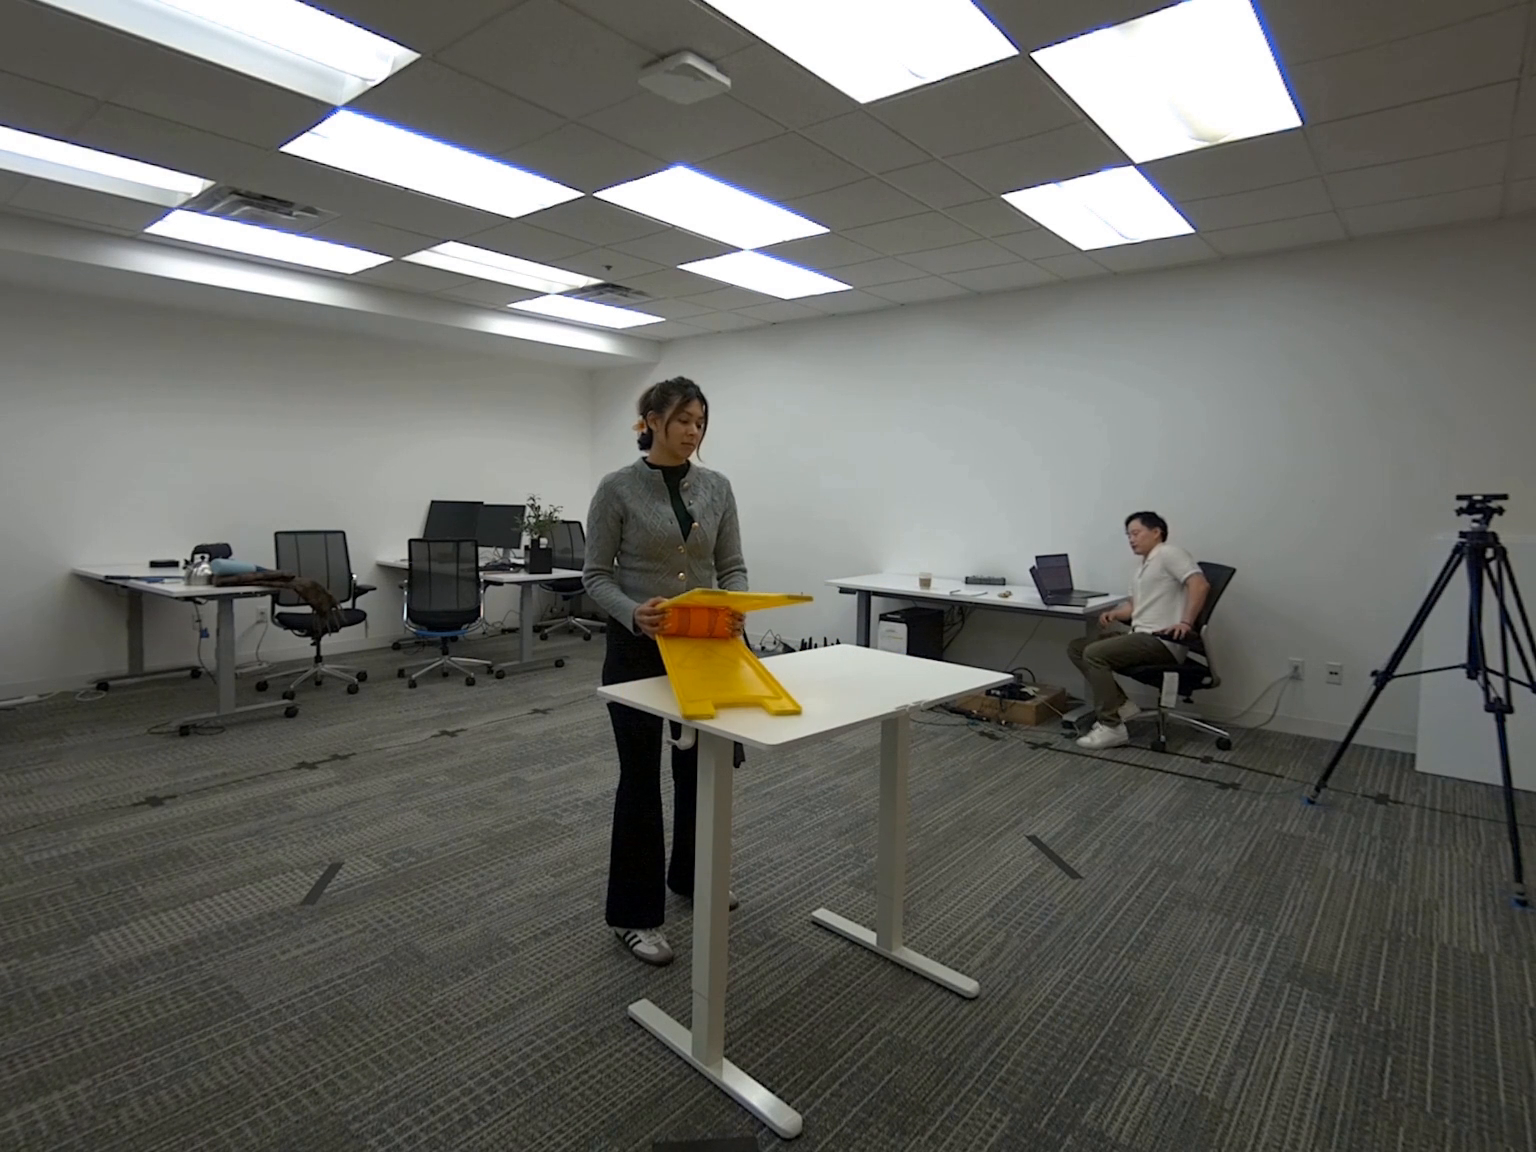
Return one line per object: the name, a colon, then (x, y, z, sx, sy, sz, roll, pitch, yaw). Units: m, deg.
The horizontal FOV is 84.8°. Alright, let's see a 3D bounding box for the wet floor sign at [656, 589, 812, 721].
wet floor sign: (-0.148, 0.136, 2.188, 0.276, 0.289, 0.661, 3, 5, -20)
